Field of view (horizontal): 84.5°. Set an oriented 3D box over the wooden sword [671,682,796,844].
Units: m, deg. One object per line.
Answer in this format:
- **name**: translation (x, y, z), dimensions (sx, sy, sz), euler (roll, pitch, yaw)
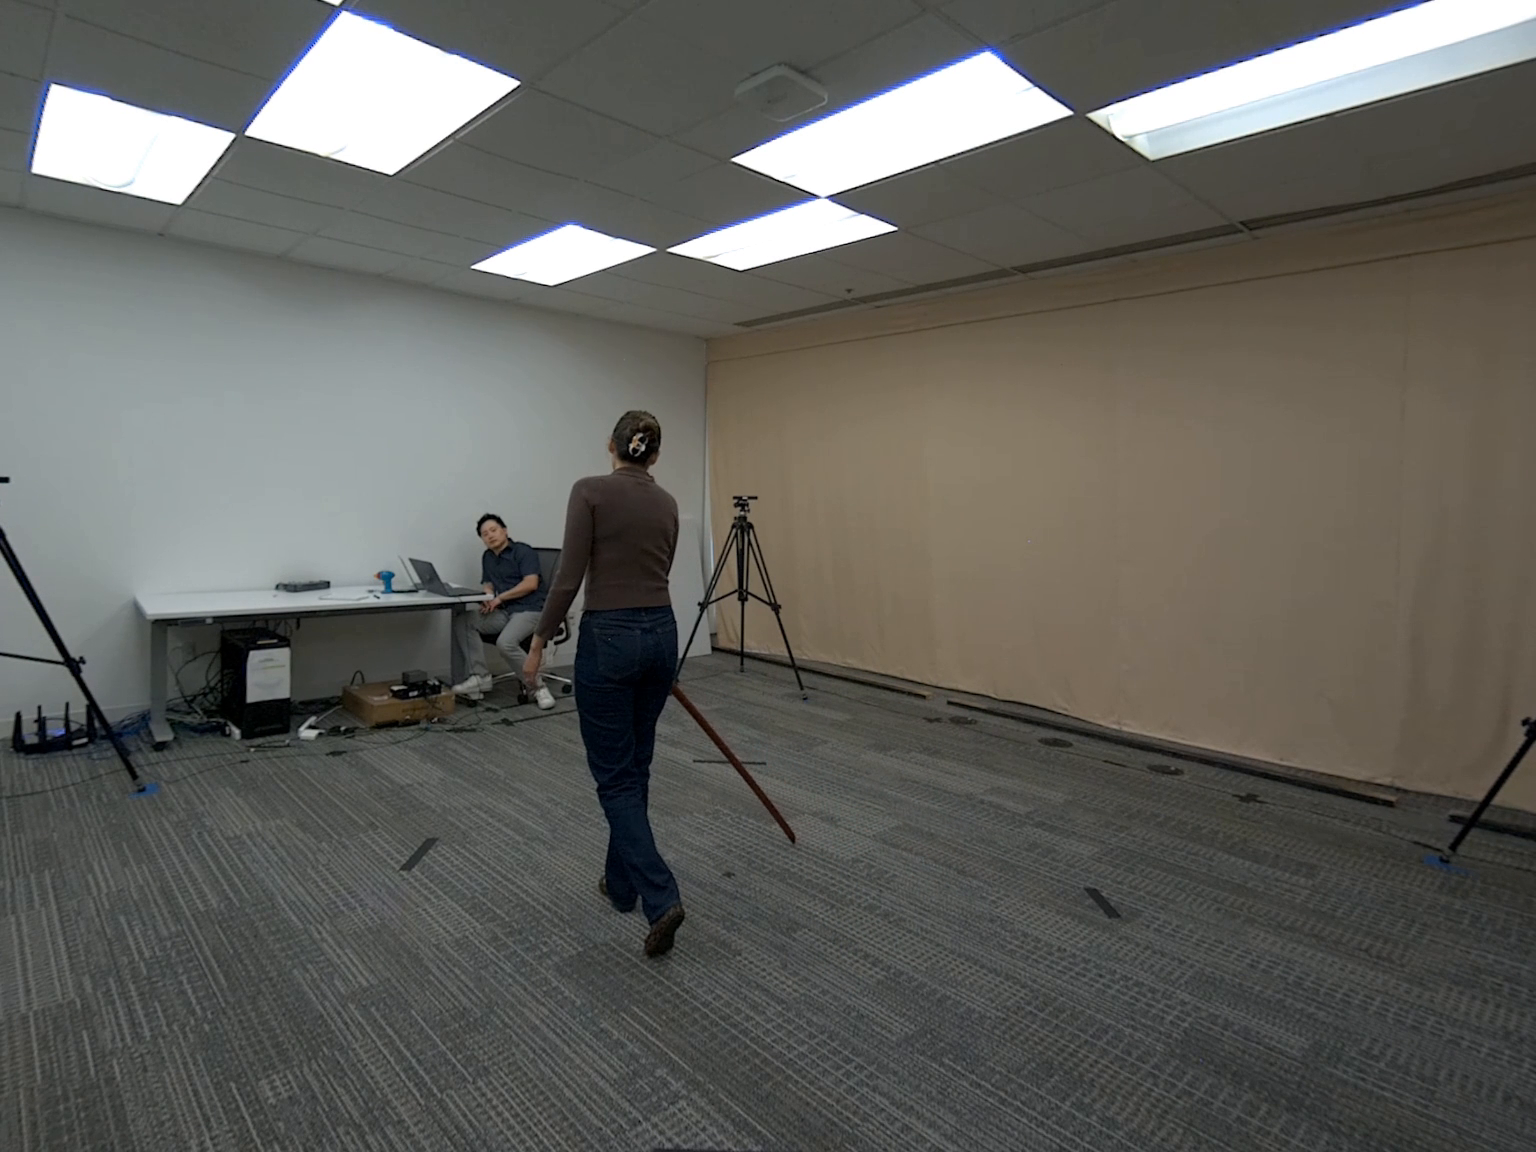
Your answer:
- **wooden sword**: translation (-0.177, 0.680, 3.314), dimensions (0.051, 1.013, 0.024), euler (-34, 11, 5)
